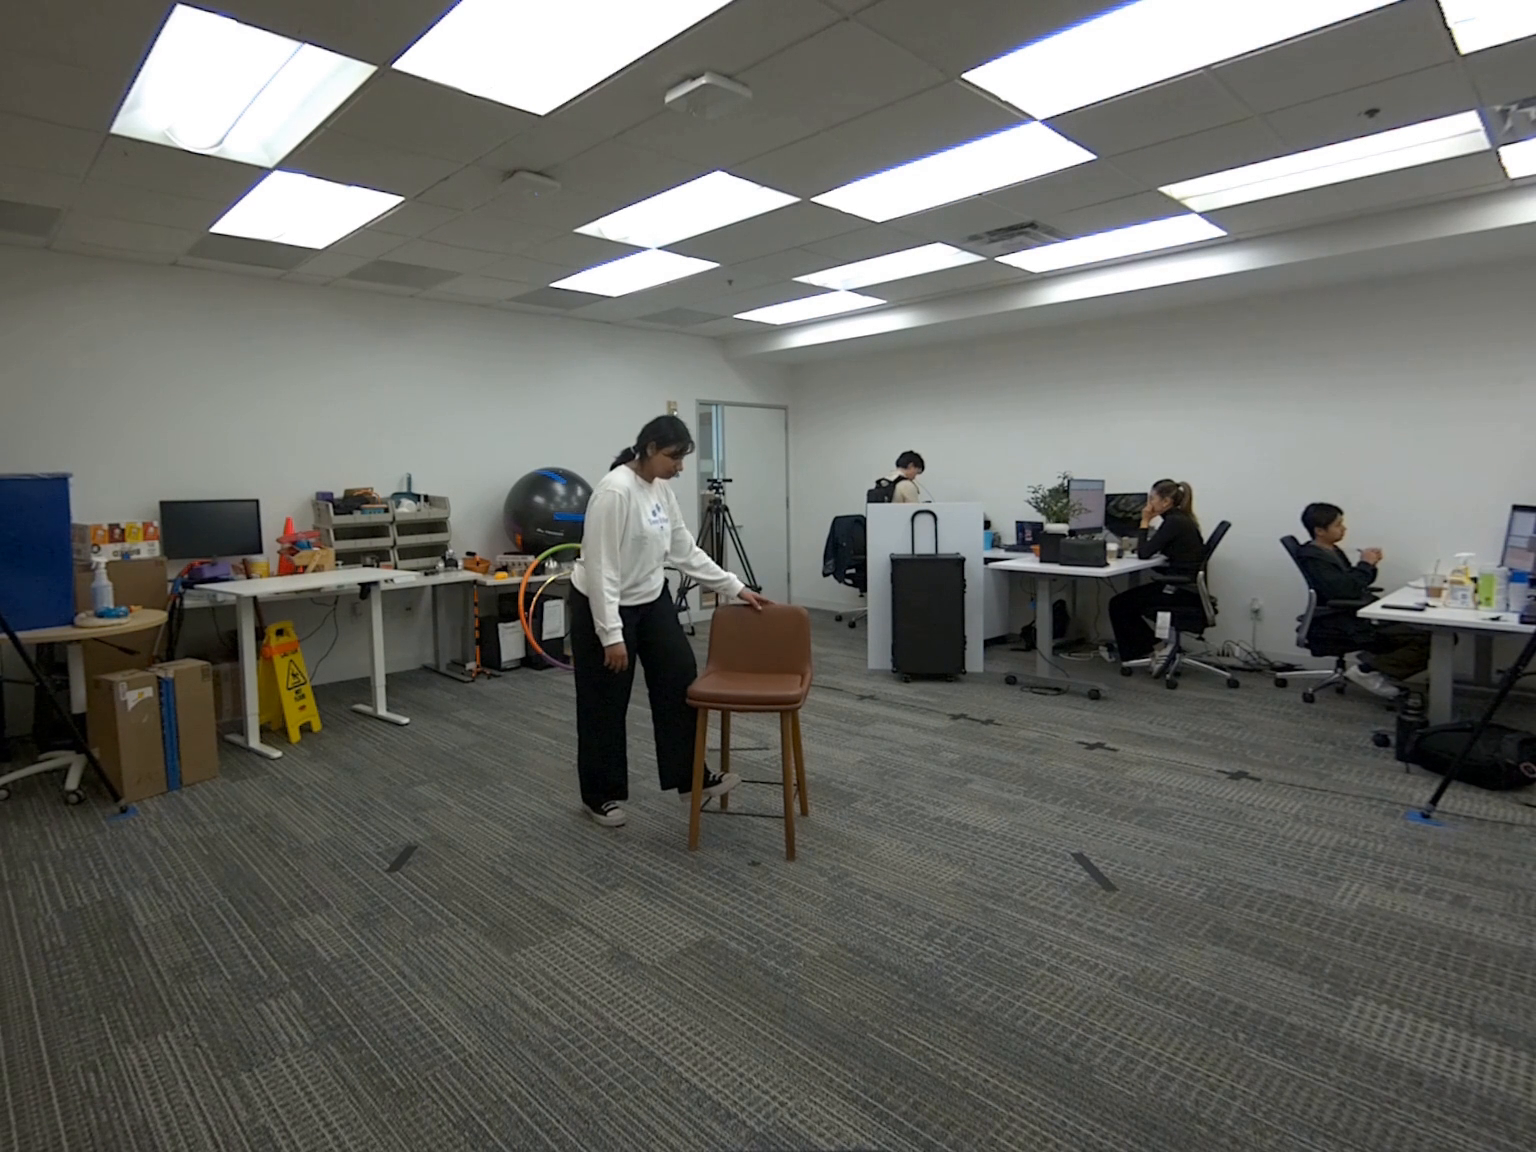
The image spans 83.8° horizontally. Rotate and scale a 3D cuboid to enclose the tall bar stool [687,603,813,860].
[{"bbox_3d":[-0.060,0.577,3.366,0.463,0.888,0.462,0,2,14],"label":"tall bar stool"}]
